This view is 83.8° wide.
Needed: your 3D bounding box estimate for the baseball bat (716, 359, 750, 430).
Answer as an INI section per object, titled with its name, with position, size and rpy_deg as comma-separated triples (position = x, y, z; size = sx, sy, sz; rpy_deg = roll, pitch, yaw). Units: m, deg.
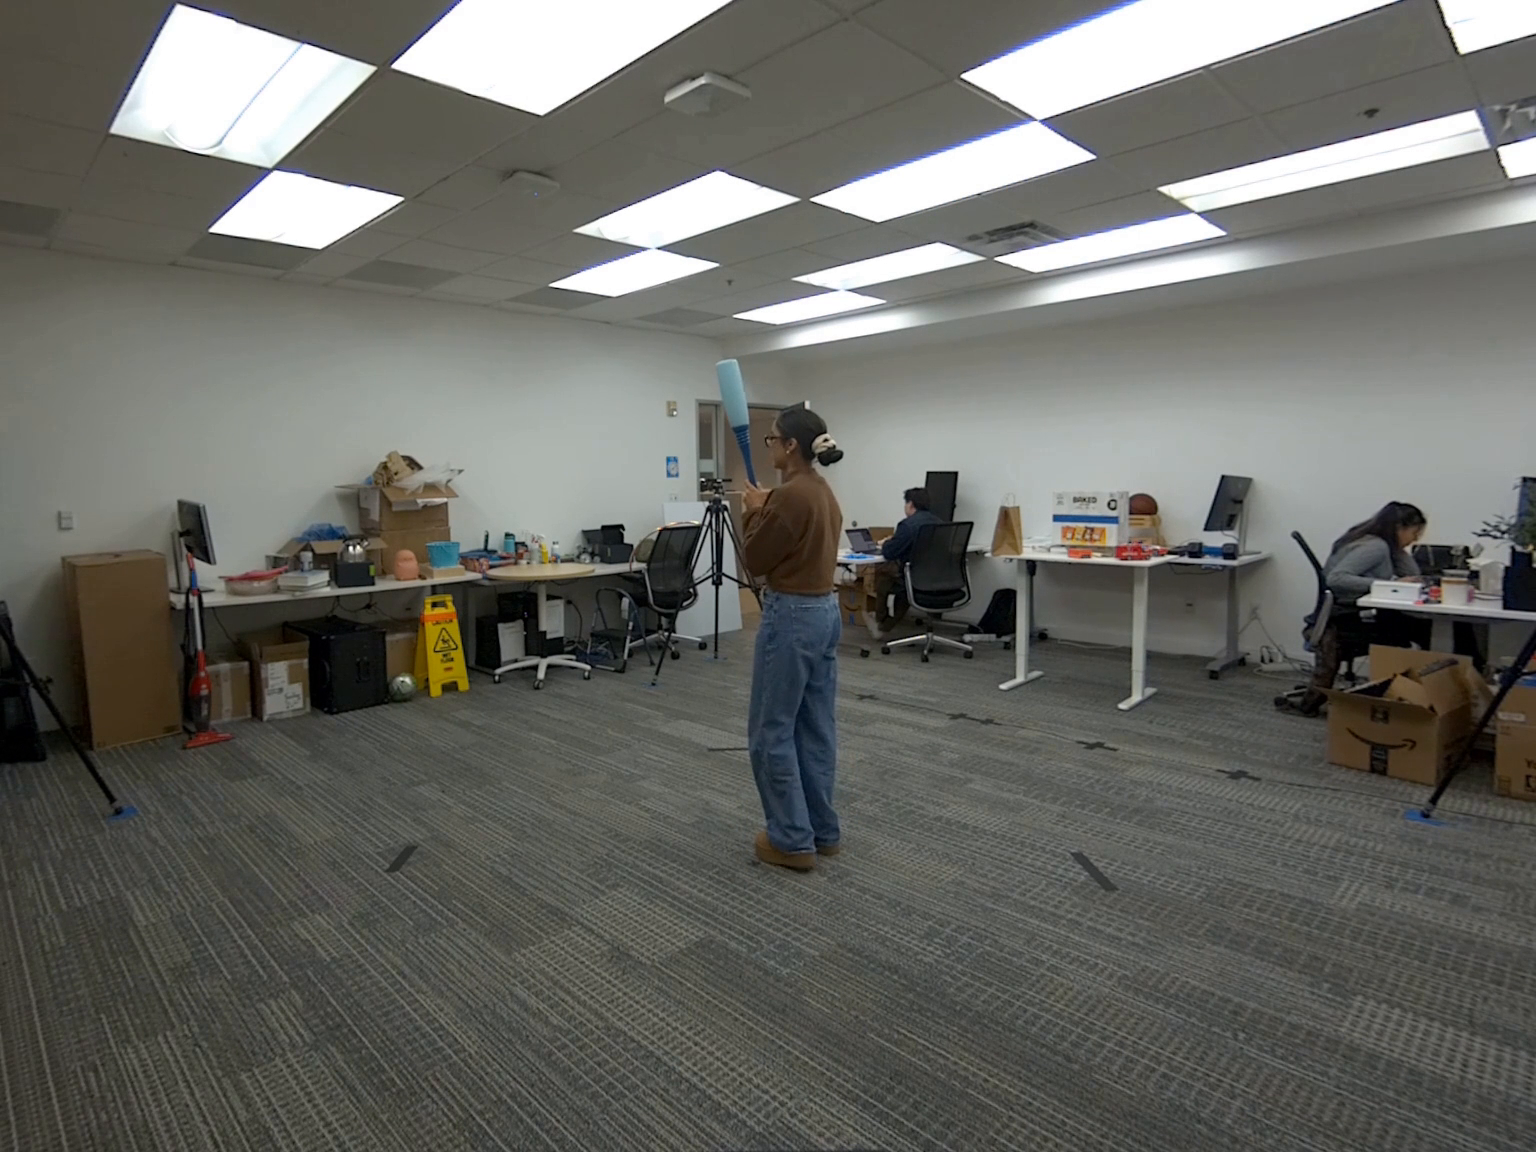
[baseball bat]
position = -0.096, -0.551, 3.232
size = 0.089, 0.540, 0.089
rpy_deg = -13, 5, 0
